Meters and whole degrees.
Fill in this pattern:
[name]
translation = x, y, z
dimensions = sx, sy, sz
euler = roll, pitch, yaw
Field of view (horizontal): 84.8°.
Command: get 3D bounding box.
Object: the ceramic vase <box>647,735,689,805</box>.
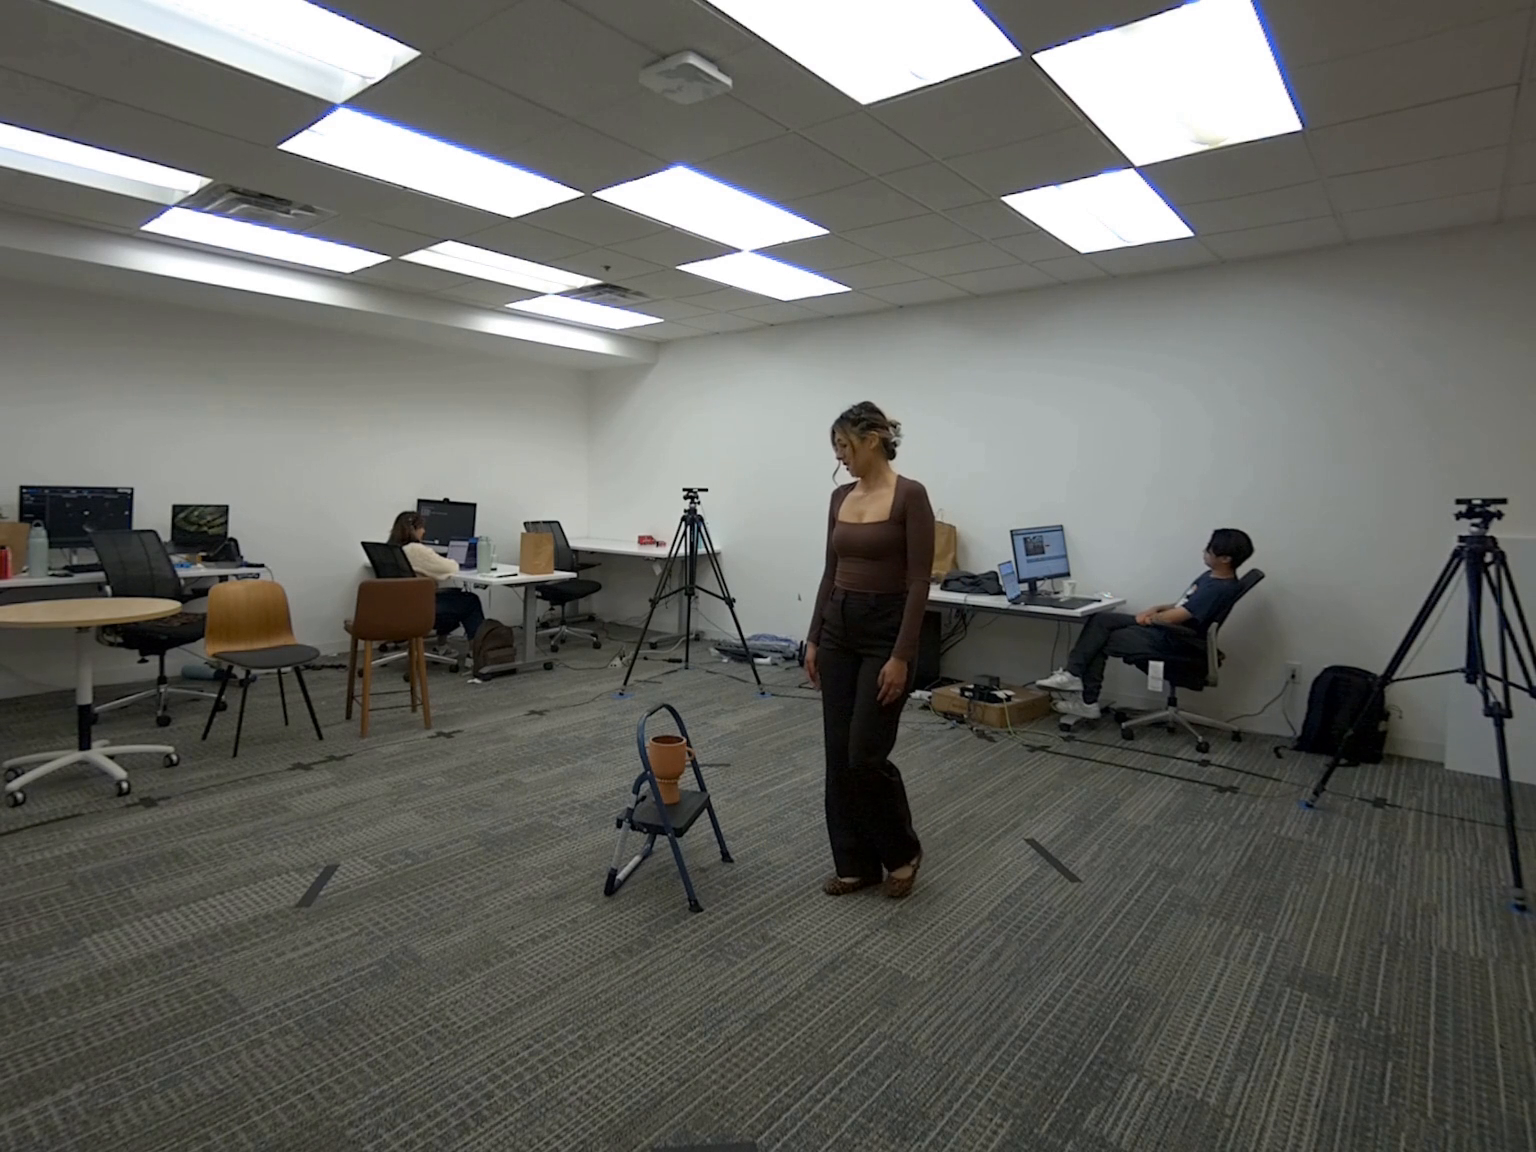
[ceramic vase]
translation = -0.374, 0.701, 3.078
dimensions = 0.130, 0.219, 0.164
euler = -2, 5, -43
